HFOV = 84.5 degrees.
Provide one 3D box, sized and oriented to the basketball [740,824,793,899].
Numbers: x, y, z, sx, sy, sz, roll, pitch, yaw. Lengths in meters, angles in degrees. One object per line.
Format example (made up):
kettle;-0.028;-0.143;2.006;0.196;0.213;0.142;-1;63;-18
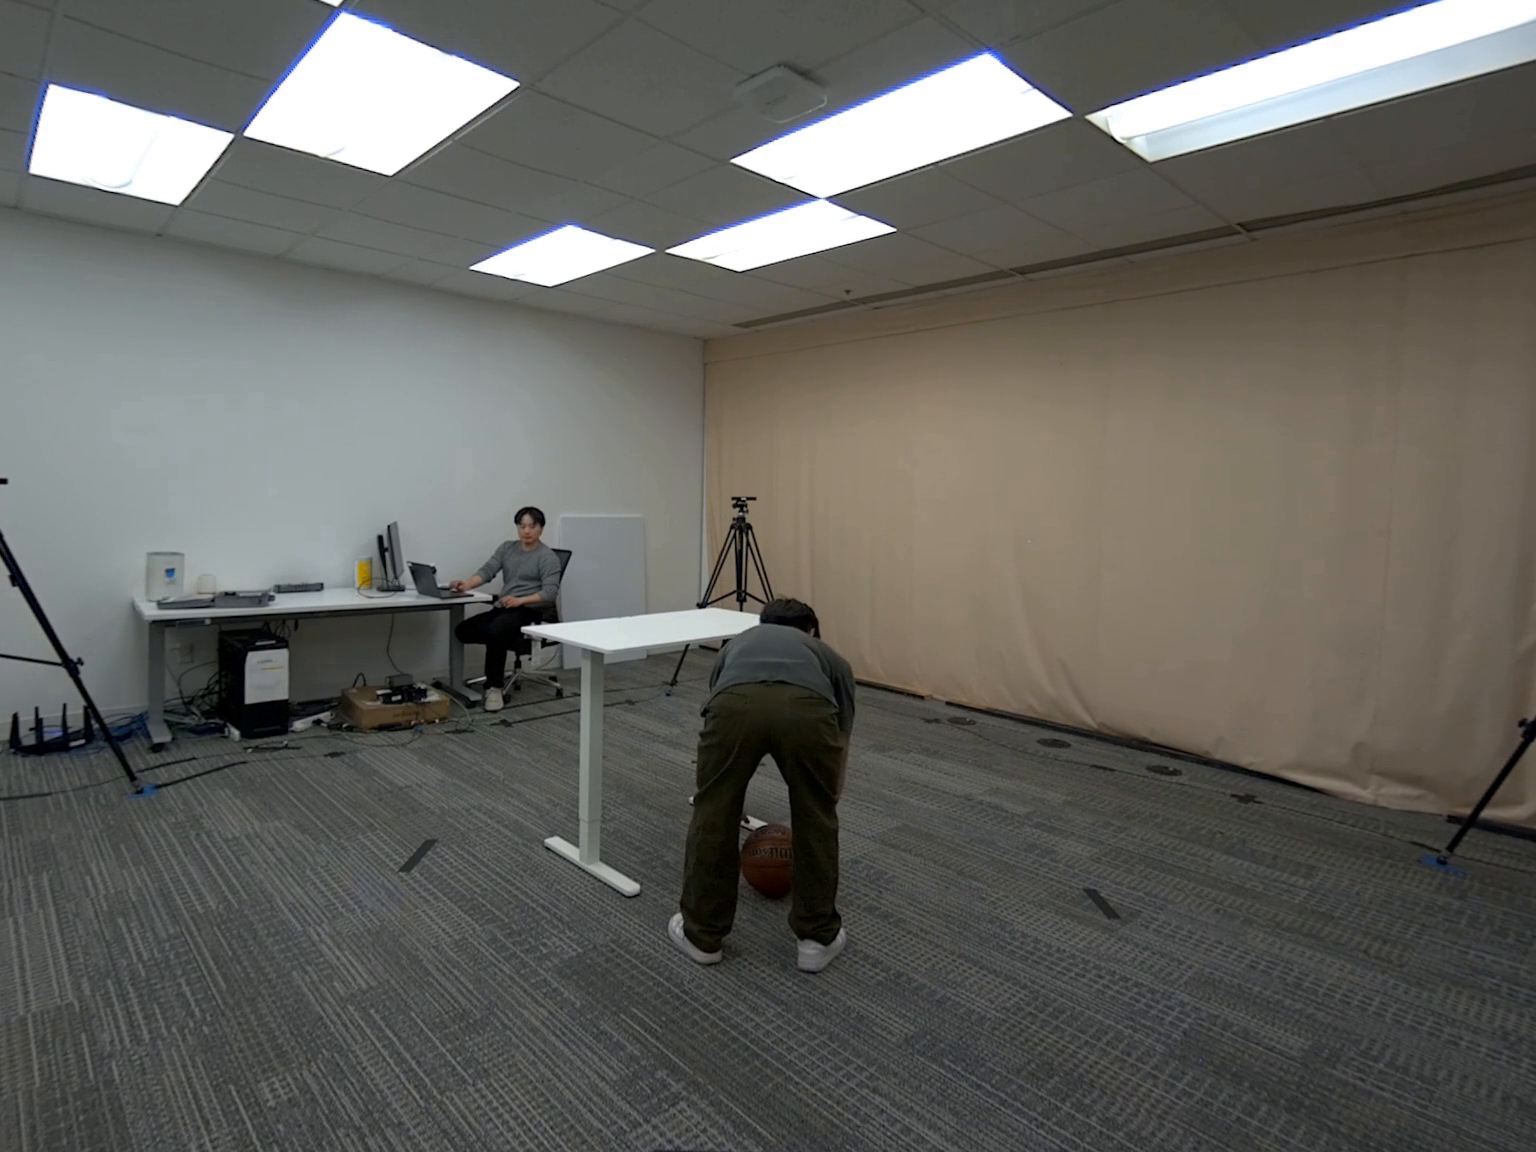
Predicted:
basketball;0.018;1.005;2.968;0.236;0.235;0.237;1;4;-1
